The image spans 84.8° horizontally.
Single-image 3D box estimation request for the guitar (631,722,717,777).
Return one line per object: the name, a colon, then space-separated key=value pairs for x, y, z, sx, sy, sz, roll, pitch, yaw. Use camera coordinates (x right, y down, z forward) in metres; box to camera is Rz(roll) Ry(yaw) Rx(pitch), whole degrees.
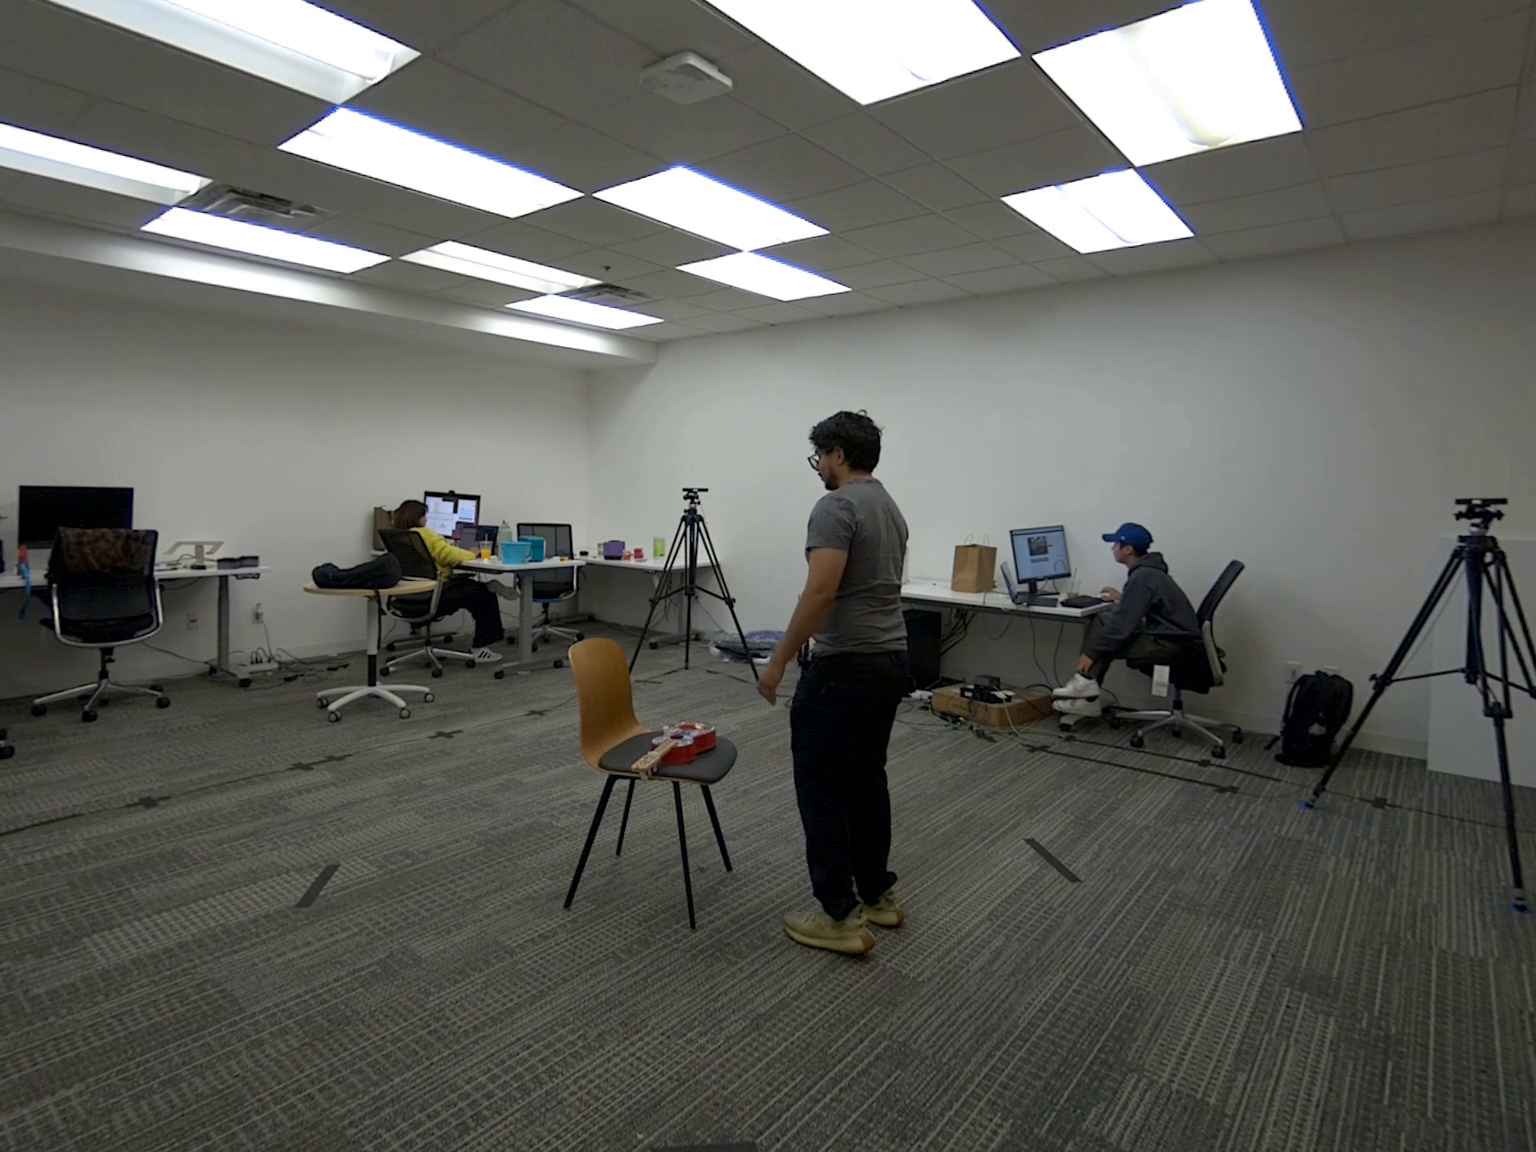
guitar: x=-0.368 y=0.583 z=2.832 sx=0.198 sy=0.070 sz=0.487 roll=2 pitch=7 yaw=26
